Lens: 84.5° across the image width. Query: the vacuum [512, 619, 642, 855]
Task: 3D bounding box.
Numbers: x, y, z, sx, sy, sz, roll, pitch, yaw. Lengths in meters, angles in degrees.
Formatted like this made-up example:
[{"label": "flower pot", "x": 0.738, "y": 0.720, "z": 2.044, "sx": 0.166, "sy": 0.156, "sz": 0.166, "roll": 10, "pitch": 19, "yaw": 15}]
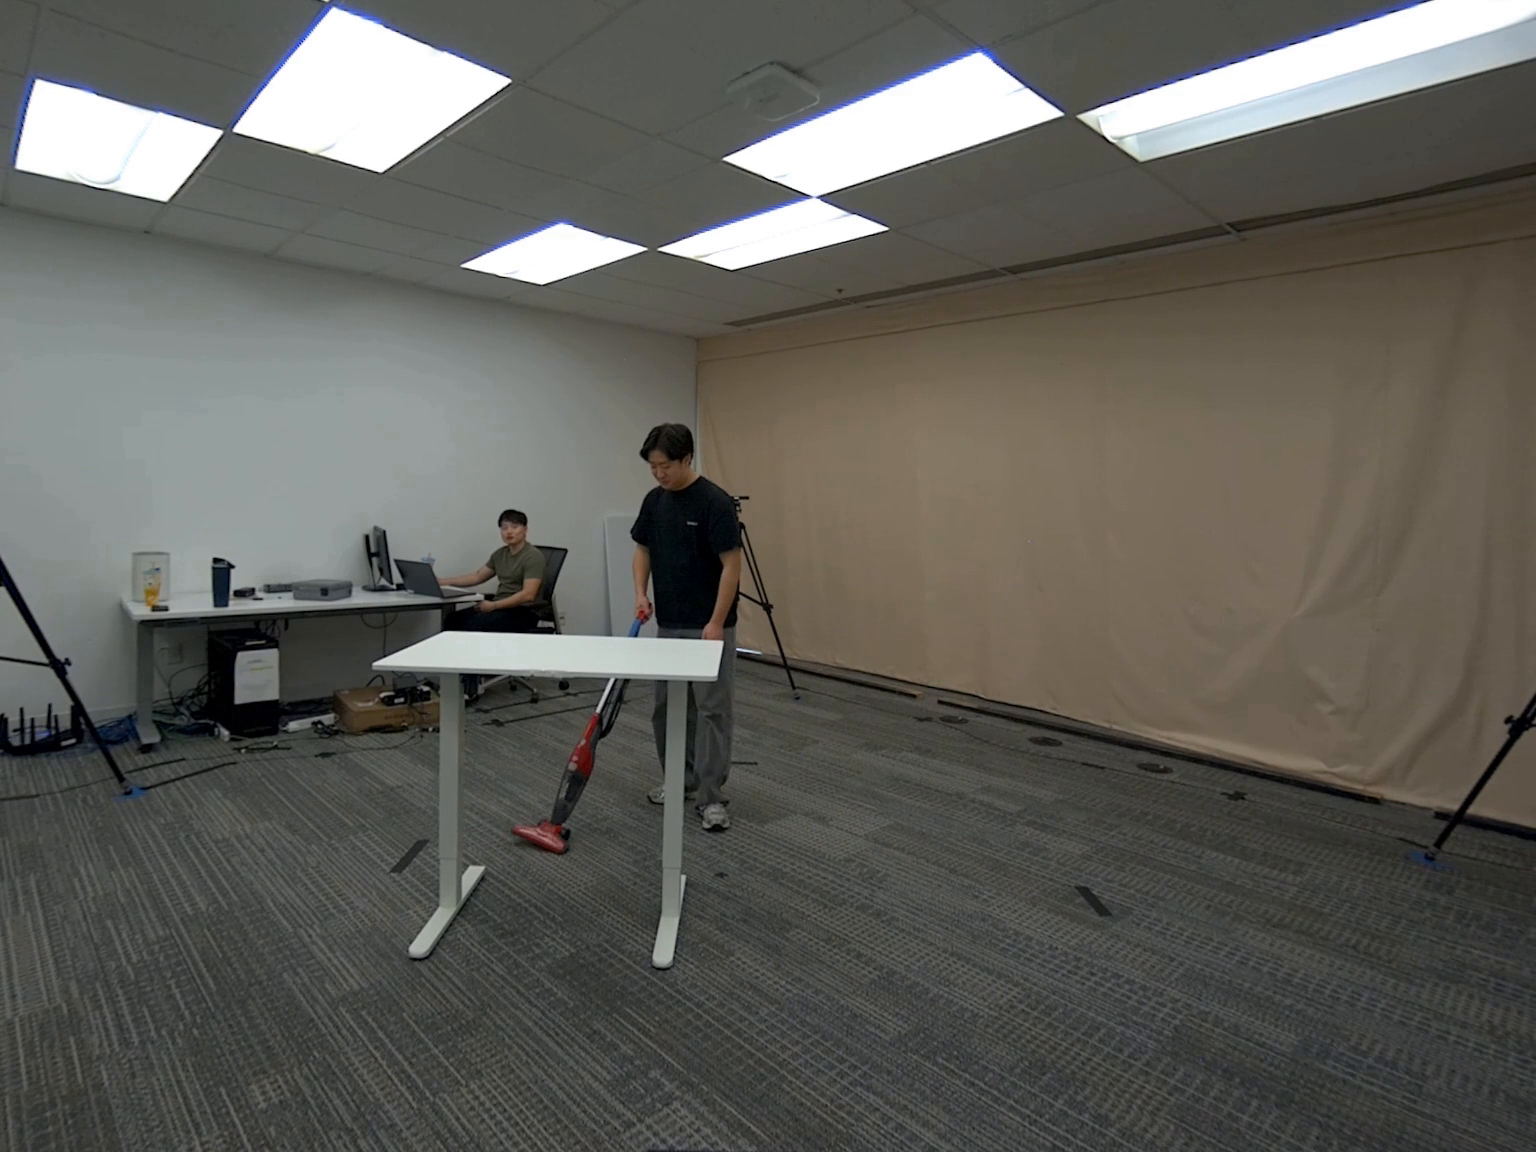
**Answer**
[{"label": "vacuum", "x": -0.719, "y": 0.600, "z": 3.543, "sx": 0.258, "sy": 1.058, "sz": 0.140, "roll": 10, "pitch": -25, "yaw": 26}]
